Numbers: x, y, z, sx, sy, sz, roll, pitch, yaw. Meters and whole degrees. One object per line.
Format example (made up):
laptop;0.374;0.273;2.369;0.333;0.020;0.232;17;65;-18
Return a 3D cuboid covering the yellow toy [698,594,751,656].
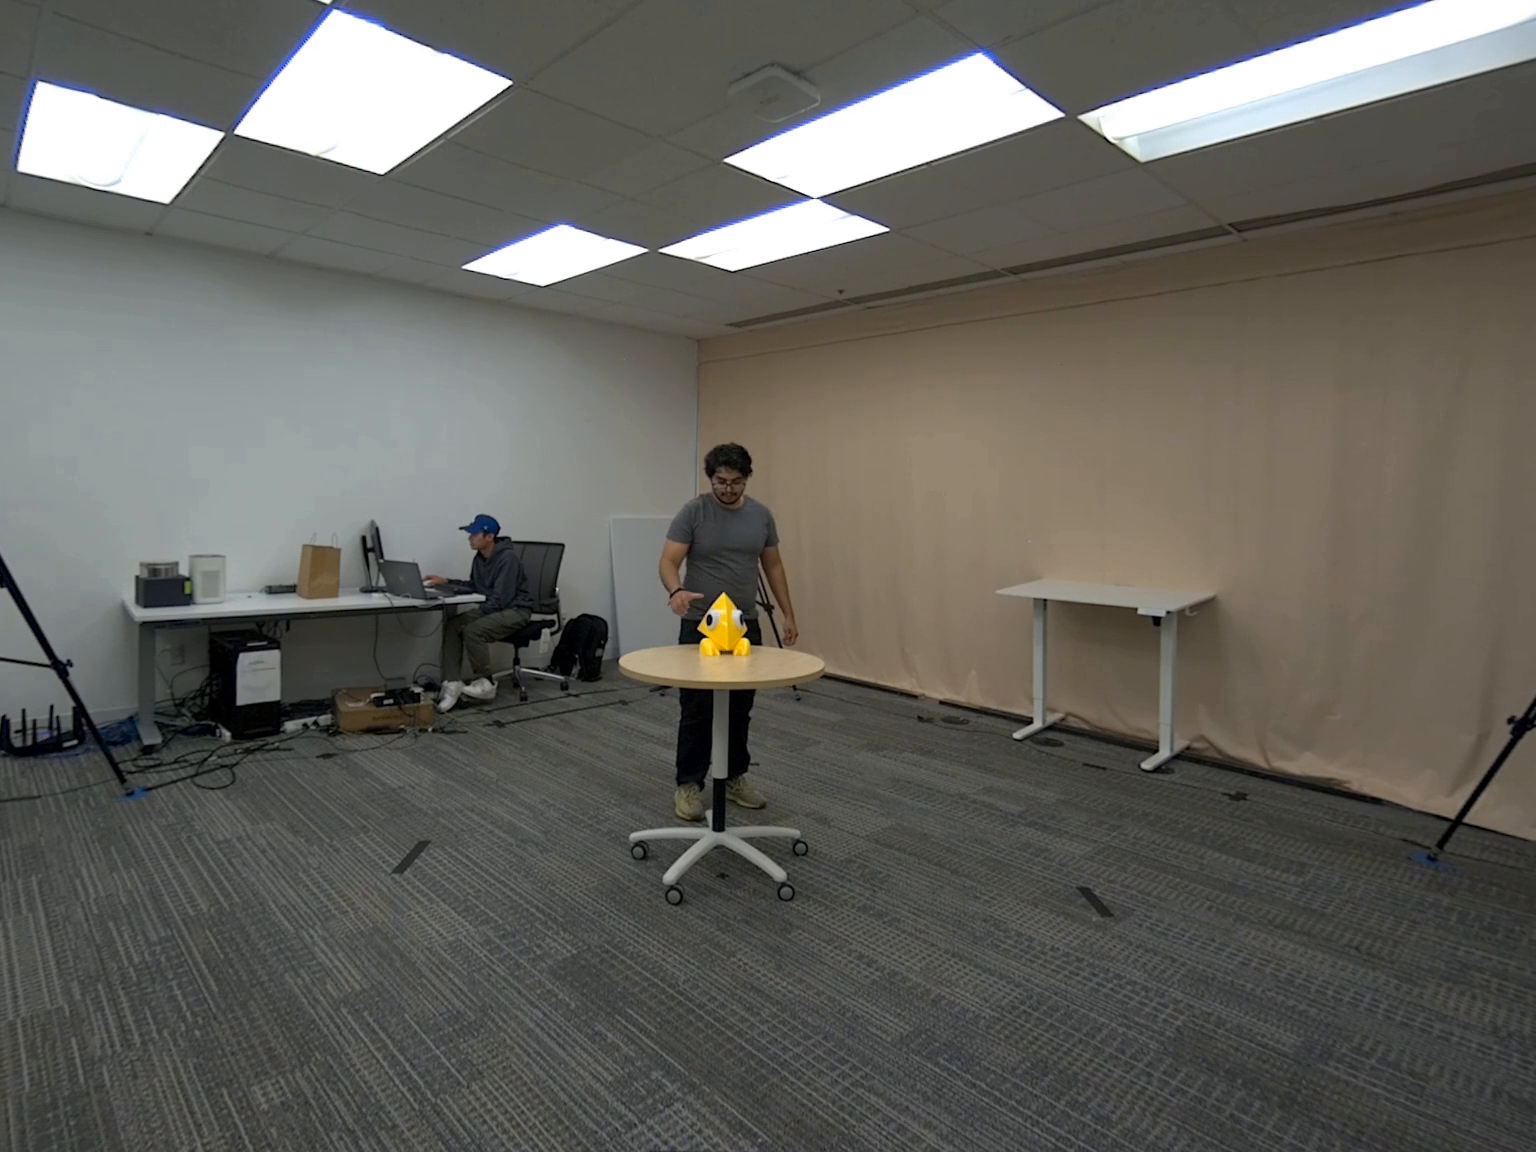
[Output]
yellow toy;-0.182;0.188;3.331;0.203;0.230;0.195;1;3;-9
